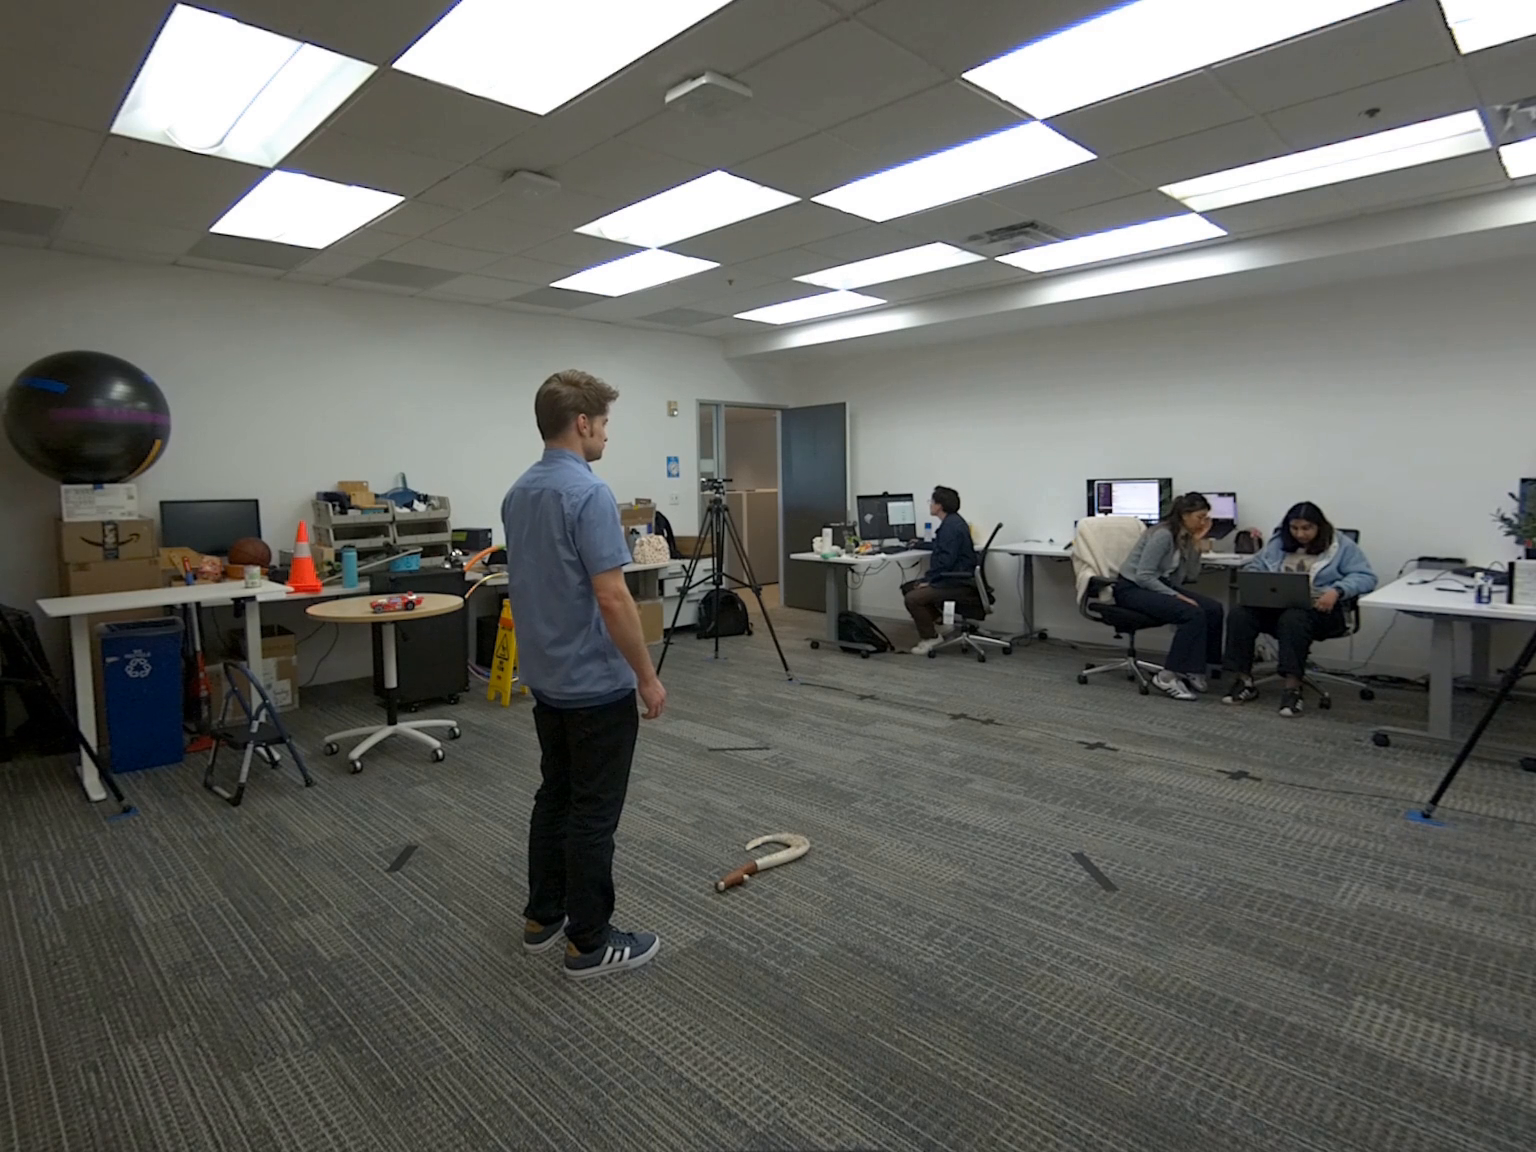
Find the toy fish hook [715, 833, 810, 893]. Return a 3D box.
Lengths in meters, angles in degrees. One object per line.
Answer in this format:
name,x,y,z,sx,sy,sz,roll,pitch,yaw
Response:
toy fish hook,-0.050,1.029,3.100,0.230,0.048,0.493,-6,1,41
